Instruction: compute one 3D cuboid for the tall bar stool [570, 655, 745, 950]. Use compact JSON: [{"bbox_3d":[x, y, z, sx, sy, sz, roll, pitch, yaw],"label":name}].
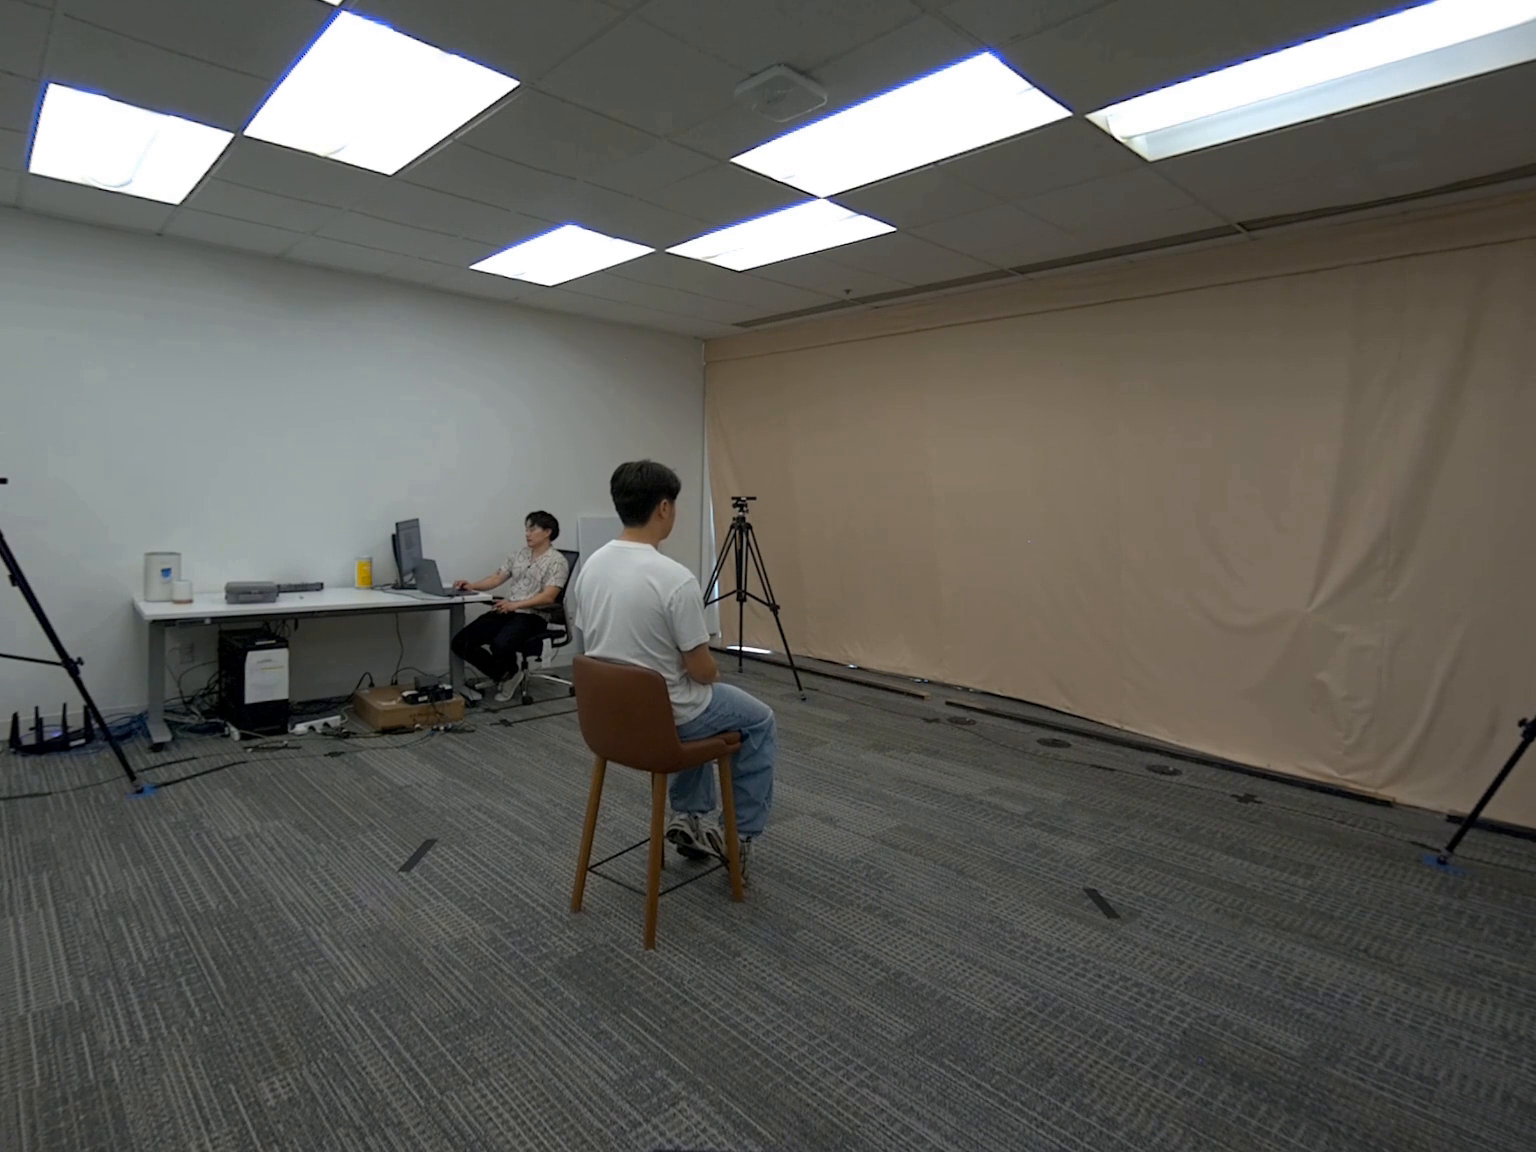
[{"bbox_3d":[-0.389,0.691,2.837,0.467,0.887,0.458,2,6,38],"label":"tall bar stool"}]
